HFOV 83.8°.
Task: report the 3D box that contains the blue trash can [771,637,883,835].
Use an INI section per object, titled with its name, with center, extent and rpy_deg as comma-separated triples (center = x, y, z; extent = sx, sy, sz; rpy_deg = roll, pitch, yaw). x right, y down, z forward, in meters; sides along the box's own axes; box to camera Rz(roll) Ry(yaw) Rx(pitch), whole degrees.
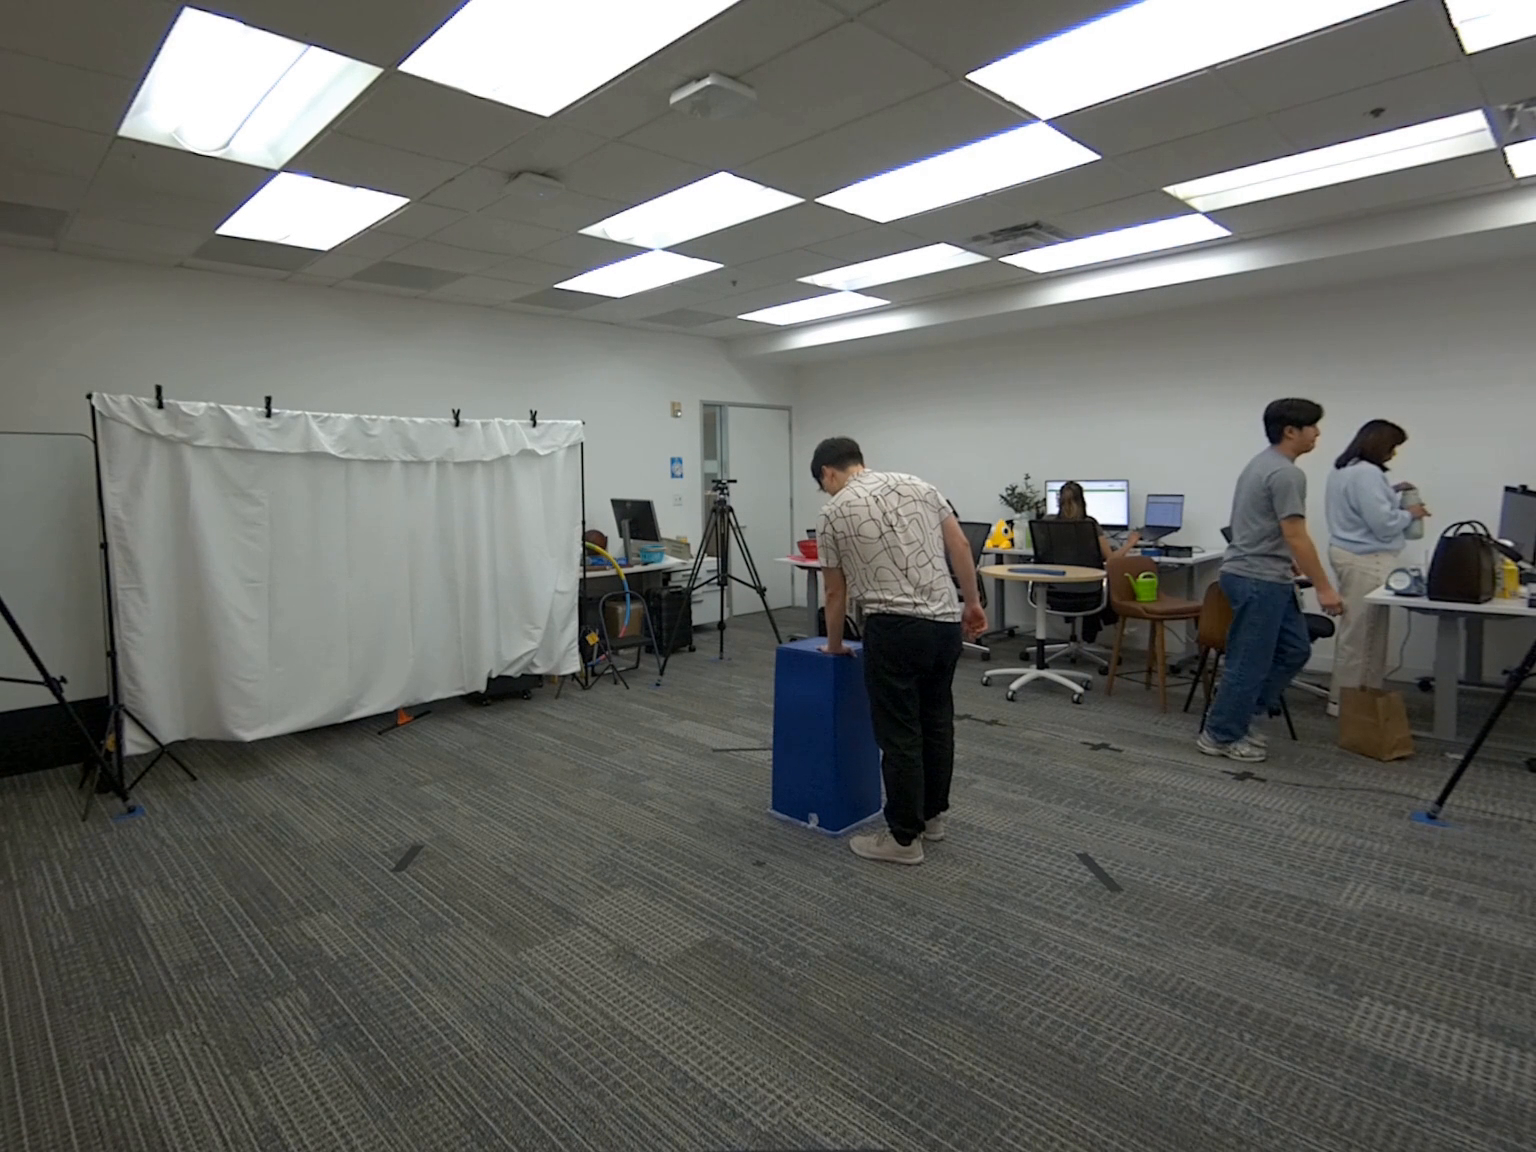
[blue trash can]
center = 0.253, 0.639, 3.550
extent = 0.390, 0.711, 0.364
rpy_deg = 4, 5, 43
